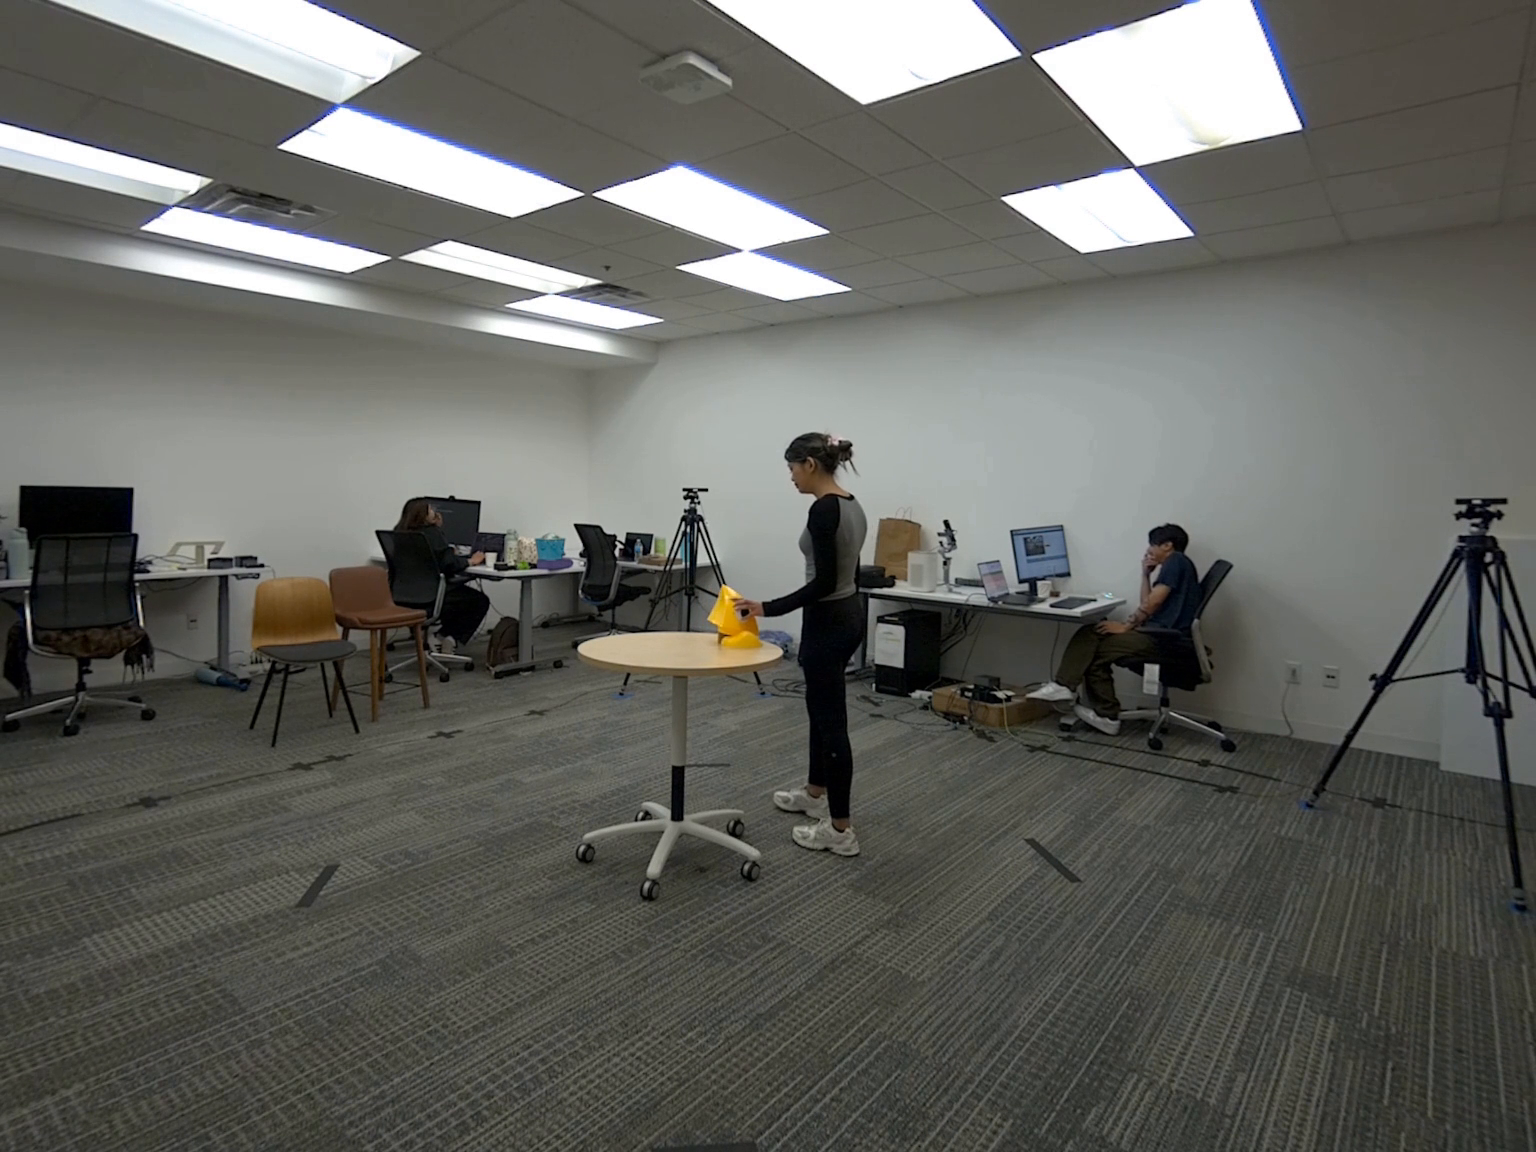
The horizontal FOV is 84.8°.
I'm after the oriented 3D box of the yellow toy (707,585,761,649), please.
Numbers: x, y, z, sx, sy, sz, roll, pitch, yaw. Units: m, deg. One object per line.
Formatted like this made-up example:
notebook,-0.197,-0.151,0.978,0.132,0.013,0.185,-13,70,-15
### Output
yellow toy,-0.137,0.144,3.345,0.189,0.230,0.209,-1,4,-19
